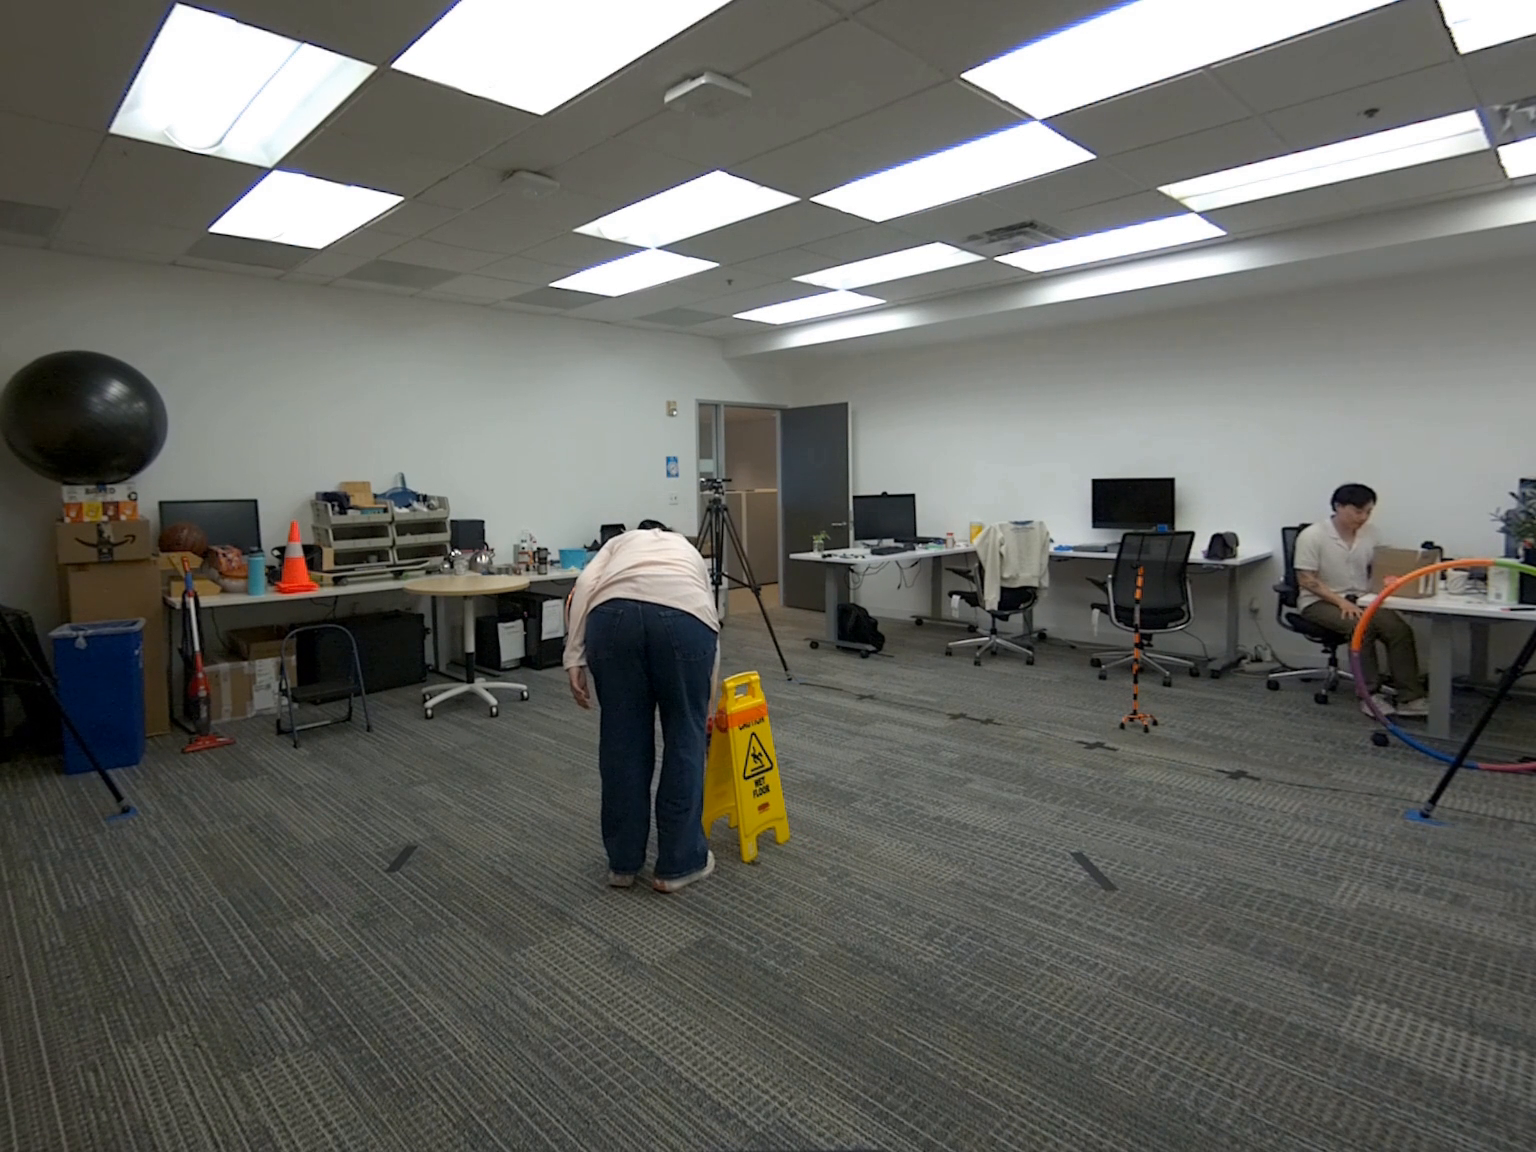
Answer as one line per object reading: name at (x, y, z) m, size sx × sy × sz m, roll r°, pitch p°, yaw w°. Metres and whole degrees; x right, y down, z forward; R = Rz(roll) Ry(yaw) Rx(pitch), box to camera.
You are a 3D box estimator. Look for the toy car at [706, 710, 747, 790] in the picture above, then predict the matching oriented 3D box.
toy car at (-0.173, 0.668, 3.313) m, size 0.085 × 0.252 × 0.128 m, roll 0°, pitch 13°, yaw 38°
